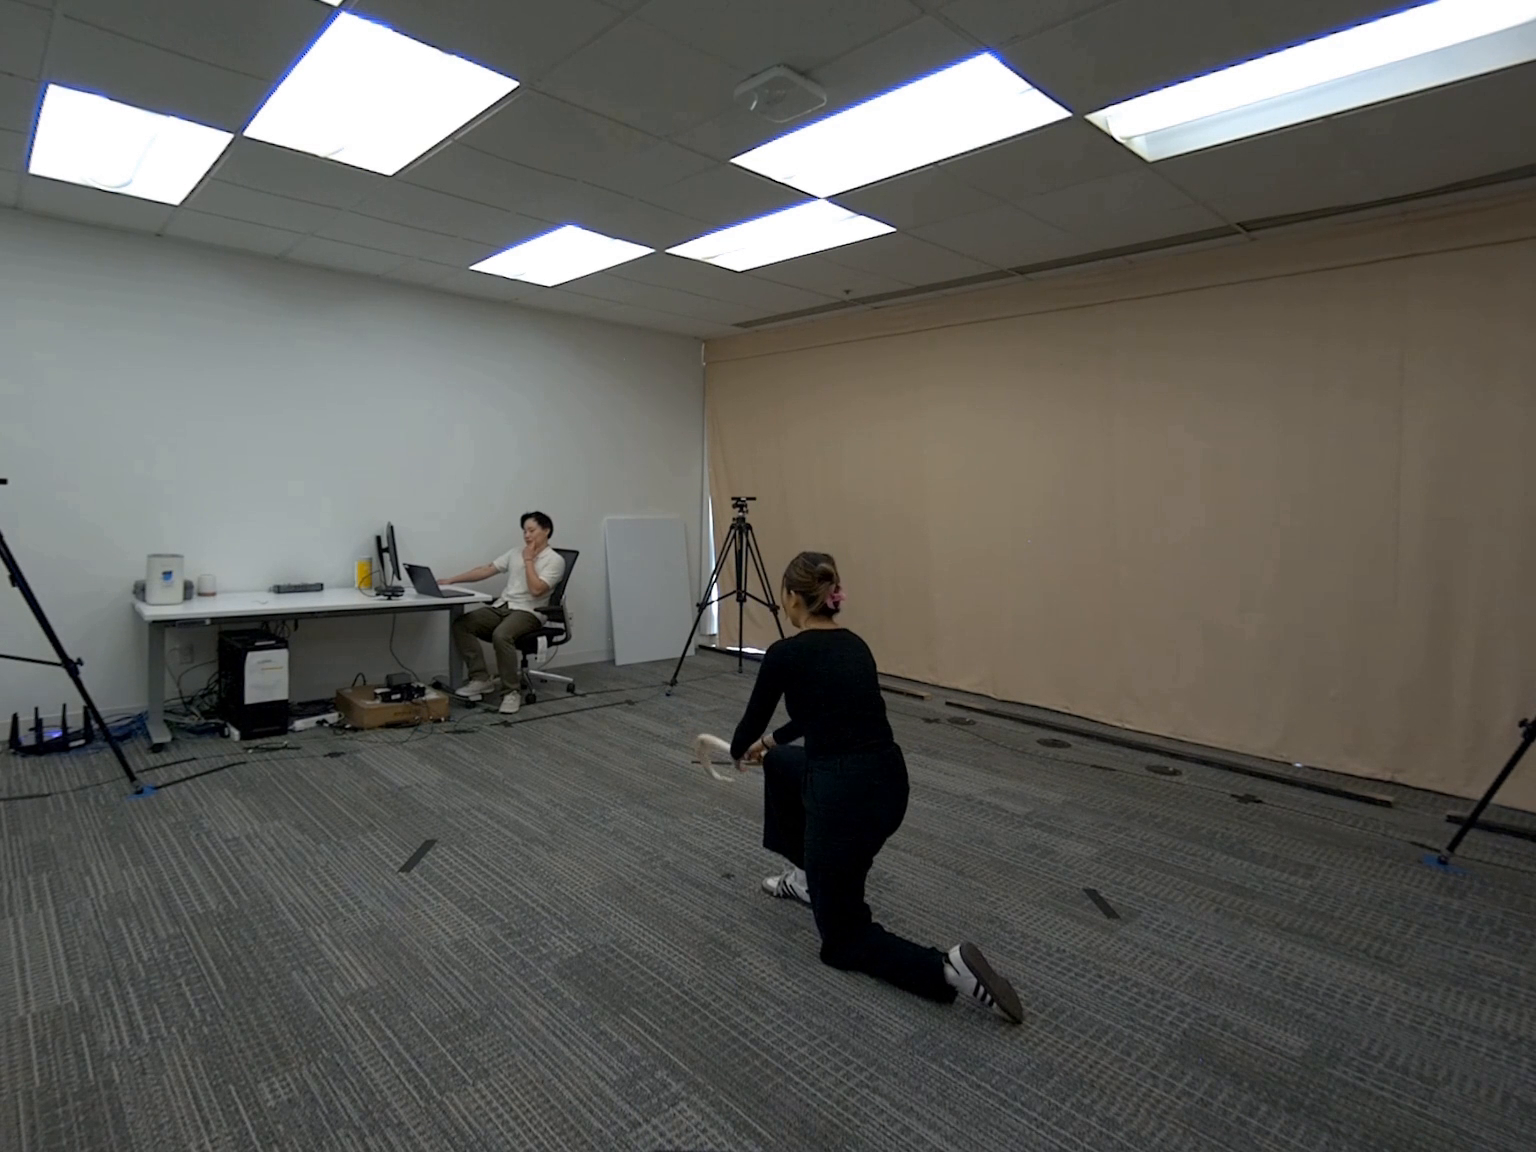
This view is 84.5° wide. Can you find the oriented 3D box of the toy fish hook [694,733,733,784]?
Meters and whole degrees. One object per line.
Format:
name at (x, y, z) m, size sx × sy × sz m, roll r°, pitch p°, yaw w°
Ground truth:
toy fish hook at (-0.130, 0.717, 3.308) m, size 0.048 × 0.222 × 0.516 m, roll -29°, pitch 12°, yaw -33°
